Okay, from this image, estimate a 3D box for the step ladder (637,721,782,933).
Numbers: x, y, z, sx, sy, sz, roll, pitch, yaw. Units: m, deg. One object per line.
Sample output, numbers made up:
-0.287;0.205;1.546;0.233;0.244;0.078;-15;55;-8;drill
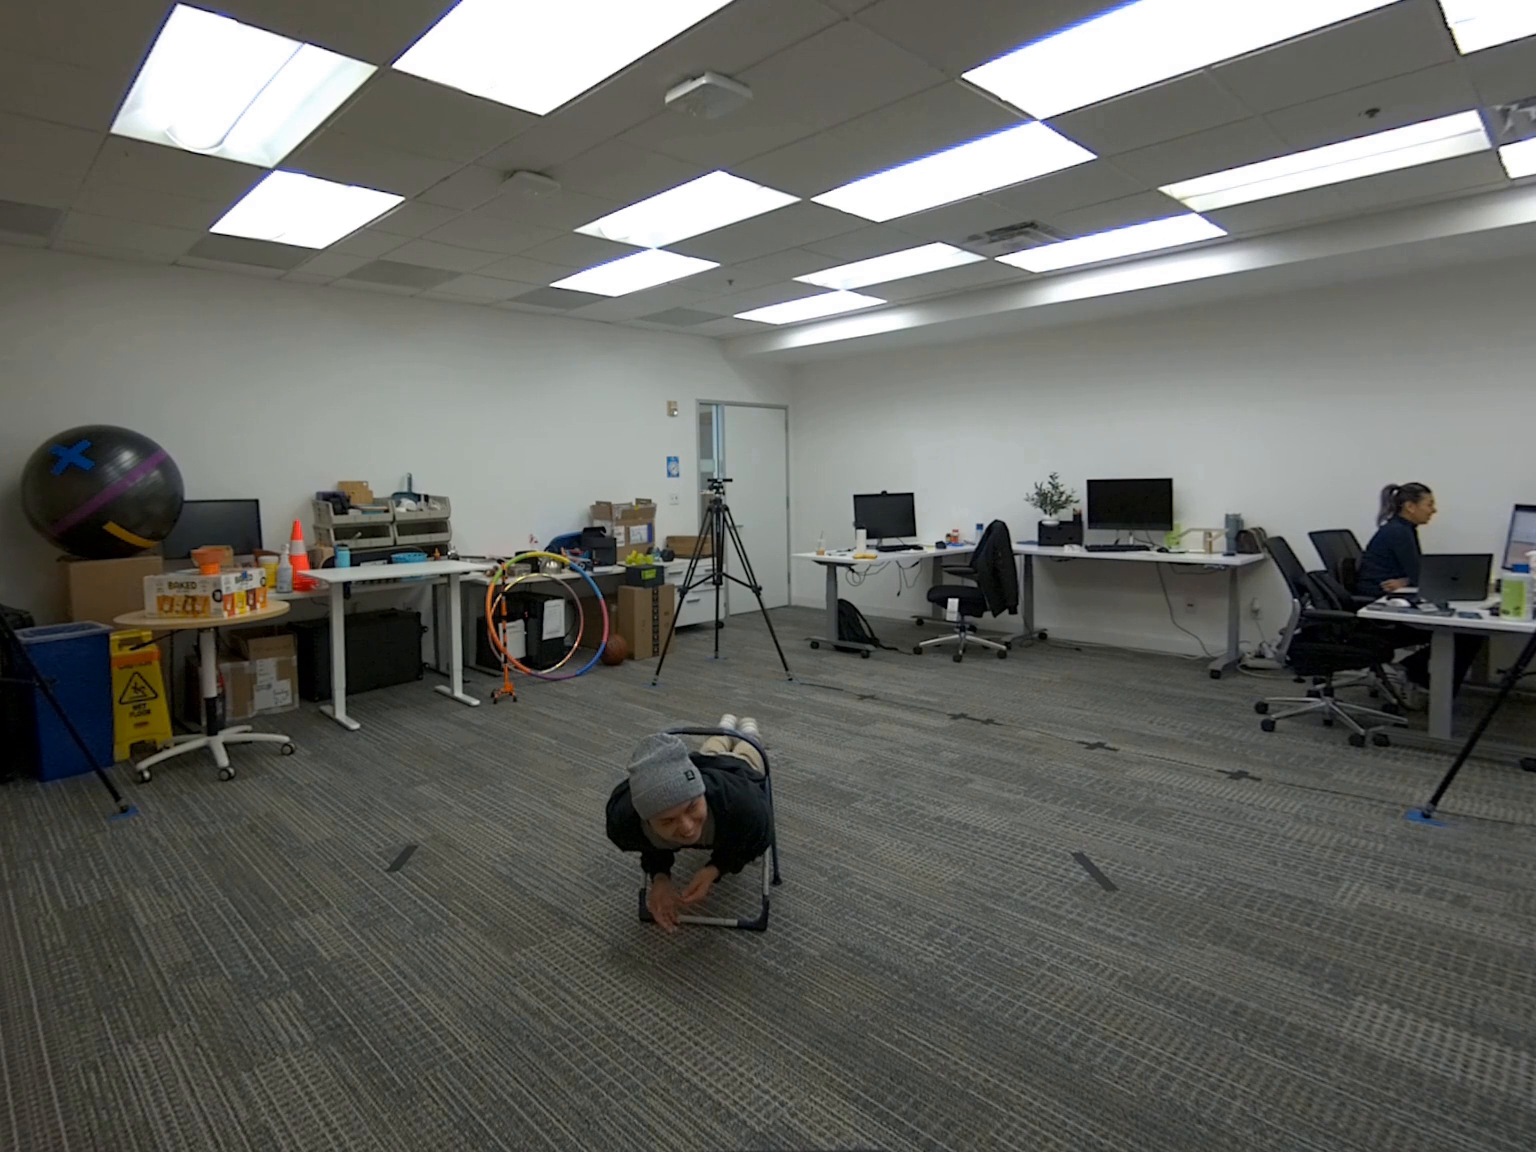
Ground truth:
-0.183;0.789;2.820;0.435;0.604;0.347;0;4;9;step ladder
